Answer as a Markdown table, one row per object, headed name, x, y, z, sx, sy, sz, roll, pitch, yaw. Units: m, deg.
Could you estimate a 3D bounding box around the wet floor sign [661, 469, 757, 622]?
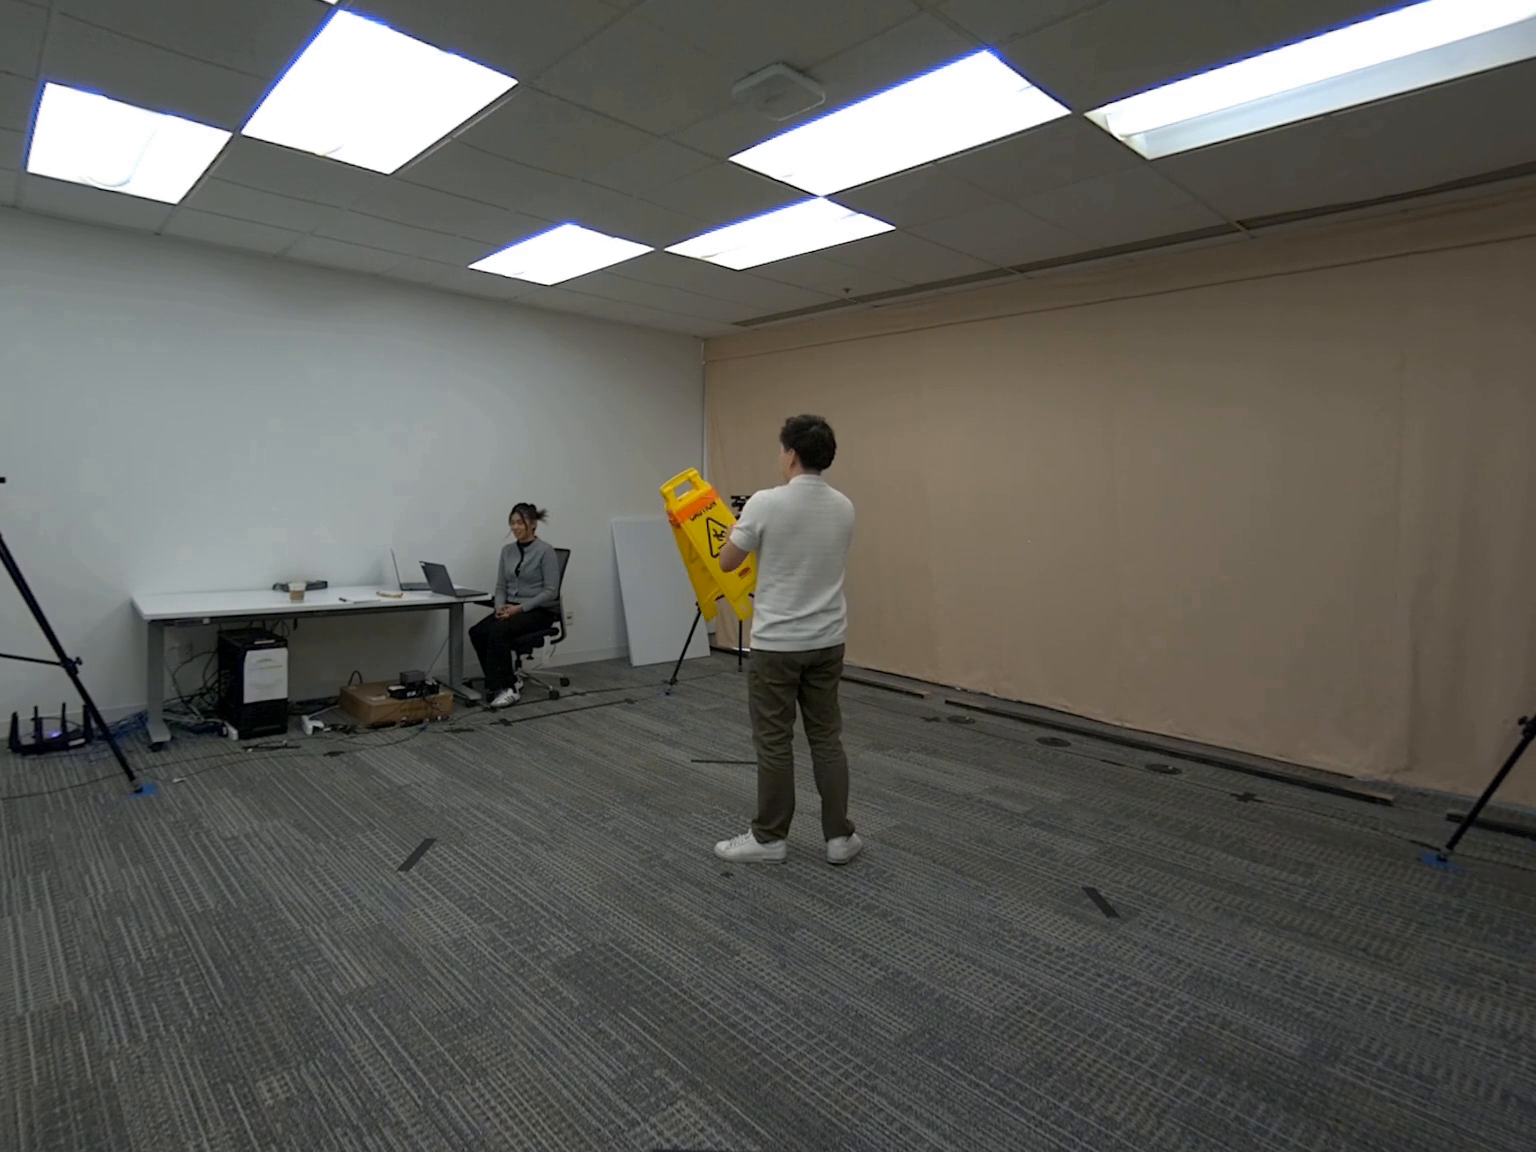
| name | x | y | z | sx | sy | sz | roll | pitch | yaw |
| --- | --- | --- | --- | --- | --- | --- | --- | --- | --- |
| wet floor sign | -0.256 | -0.145 | 3.657 | 0.280 | 0.638 | 0.295 | -35 | 14 | -31 |
